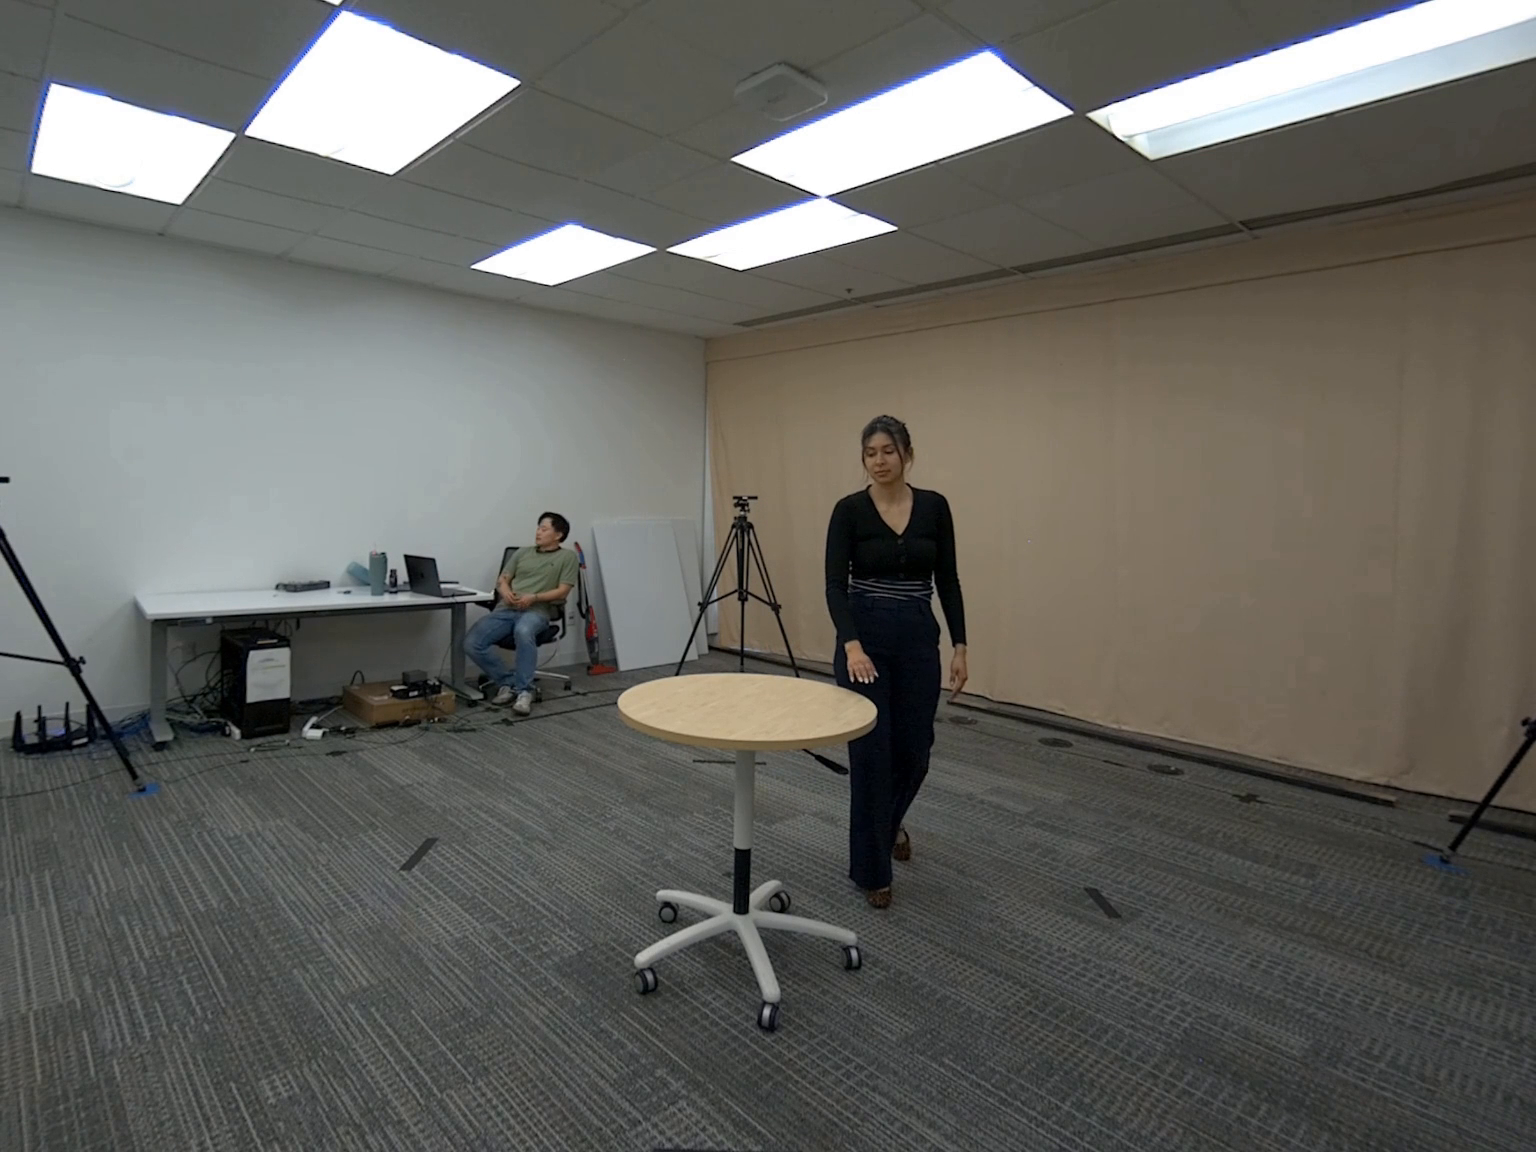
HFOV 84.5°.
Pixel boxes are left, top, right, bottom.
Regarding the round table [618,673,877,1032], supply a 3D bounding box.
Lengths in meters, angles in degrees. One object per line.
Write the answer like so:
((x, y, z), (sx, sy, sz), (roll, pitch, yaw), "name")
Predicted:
((-0.082, 0.770, 2.527), (0.763, 0.791, 0.767), (2, 5, -1), "round table")
